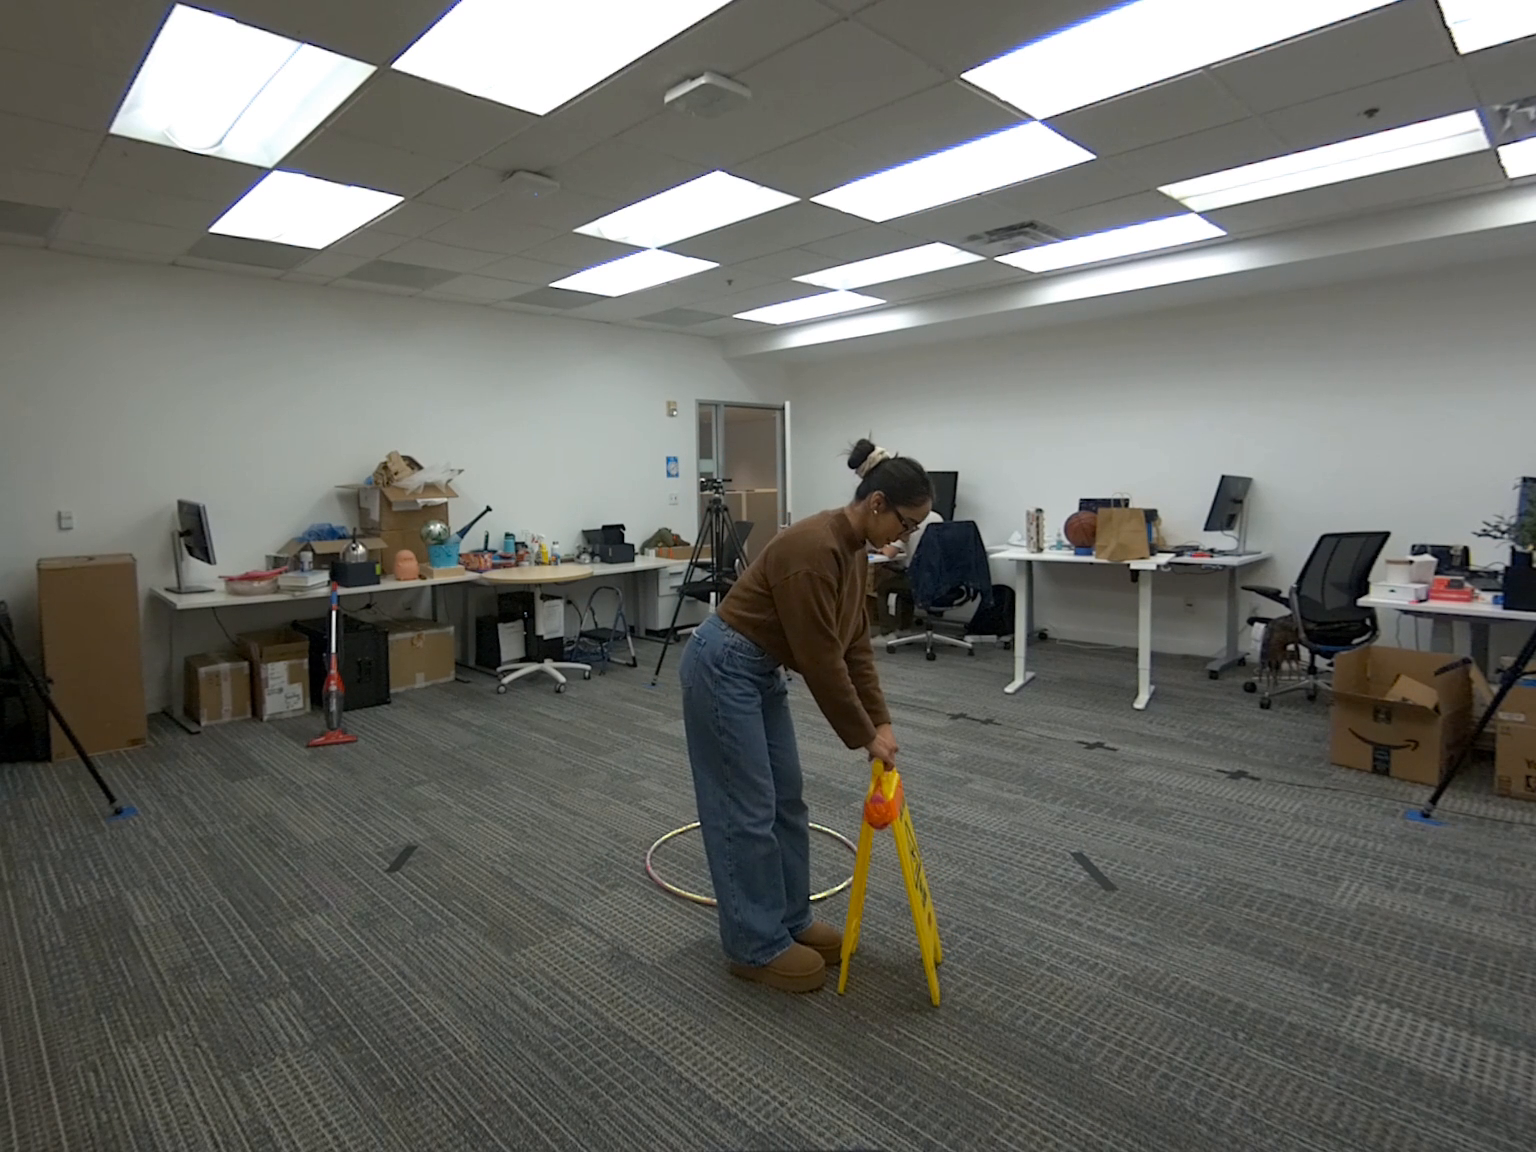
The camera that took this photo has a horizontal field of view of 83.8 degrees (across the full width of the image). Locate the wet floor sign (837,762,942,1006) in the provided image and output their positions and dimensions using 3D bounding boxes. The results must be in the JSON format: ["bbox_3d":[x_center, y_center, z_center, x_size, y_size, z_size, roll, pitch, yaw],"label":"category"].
[{"bbox_3d":[0.338,0.784,2.377,0.294,0.643,0.279,-2,5,16],"label":"wet floor sign"}]
